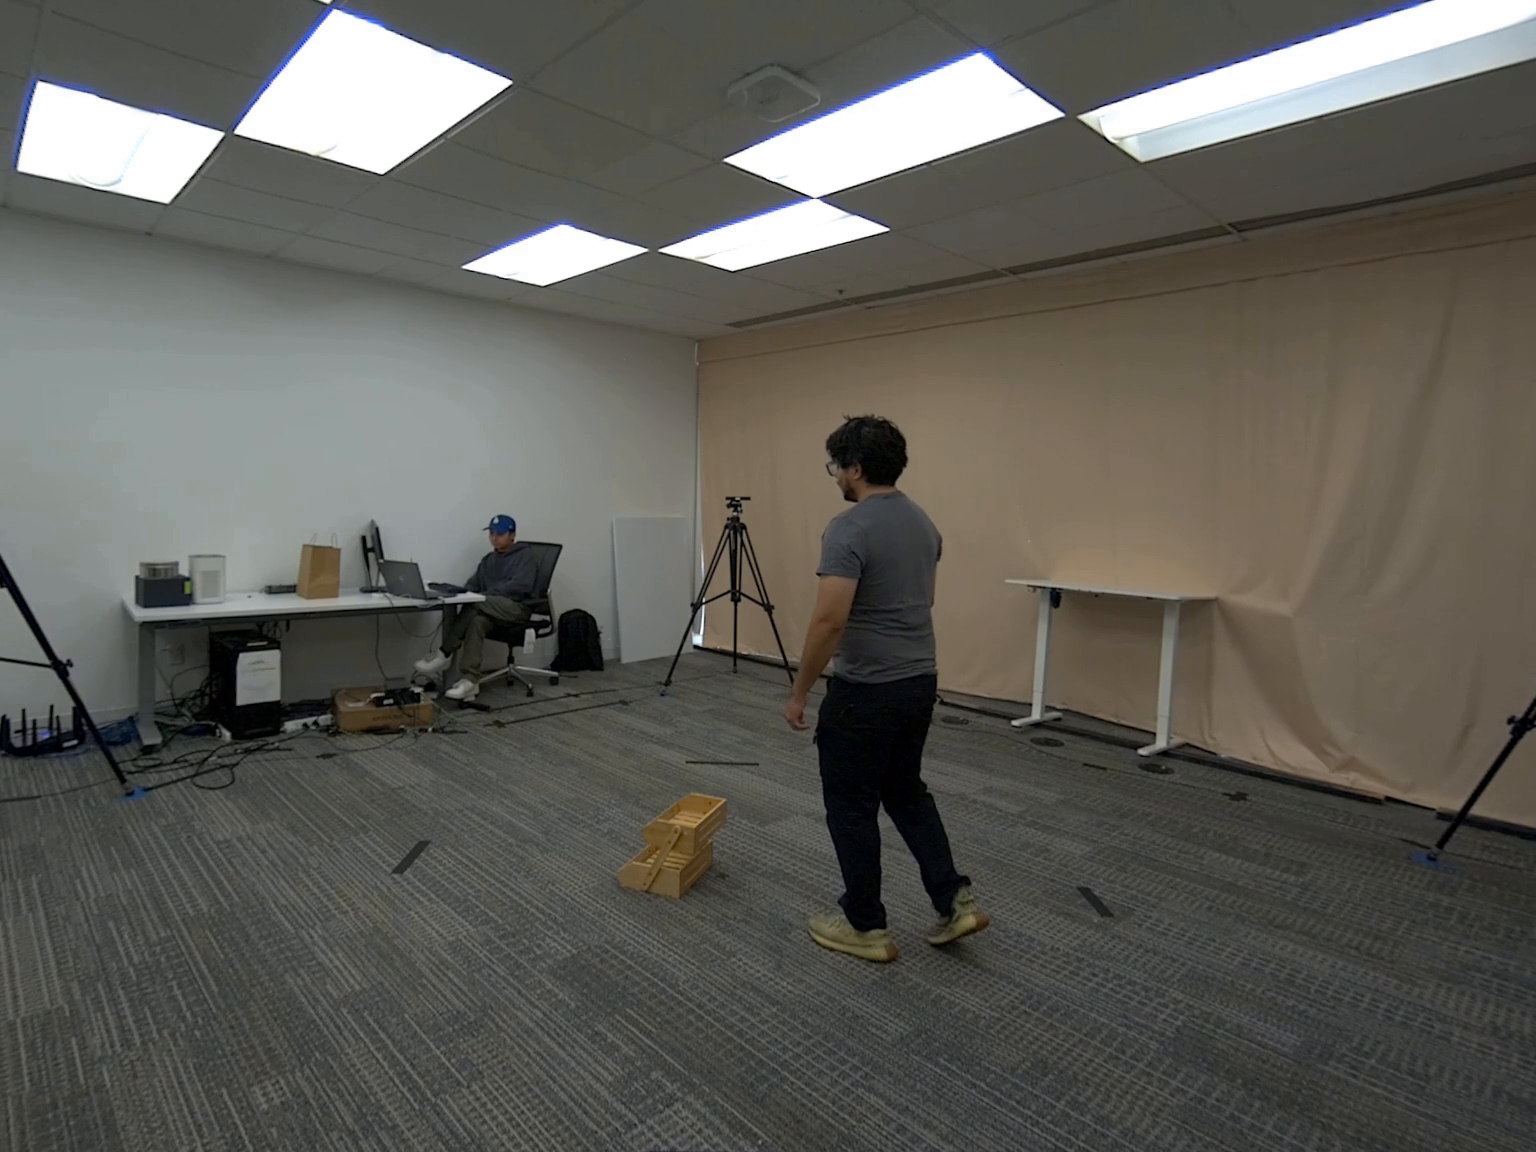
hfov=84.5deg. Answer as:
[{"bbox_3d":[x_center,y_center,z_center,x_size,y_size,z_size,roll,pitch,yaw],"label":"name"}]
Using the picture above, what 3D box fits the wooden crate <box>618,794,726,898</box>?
[{"bbox_3d":[-0.363,0.970,3.088,0.307,0.272,0.320,3,5,20],"label":"wooden crate"}]
